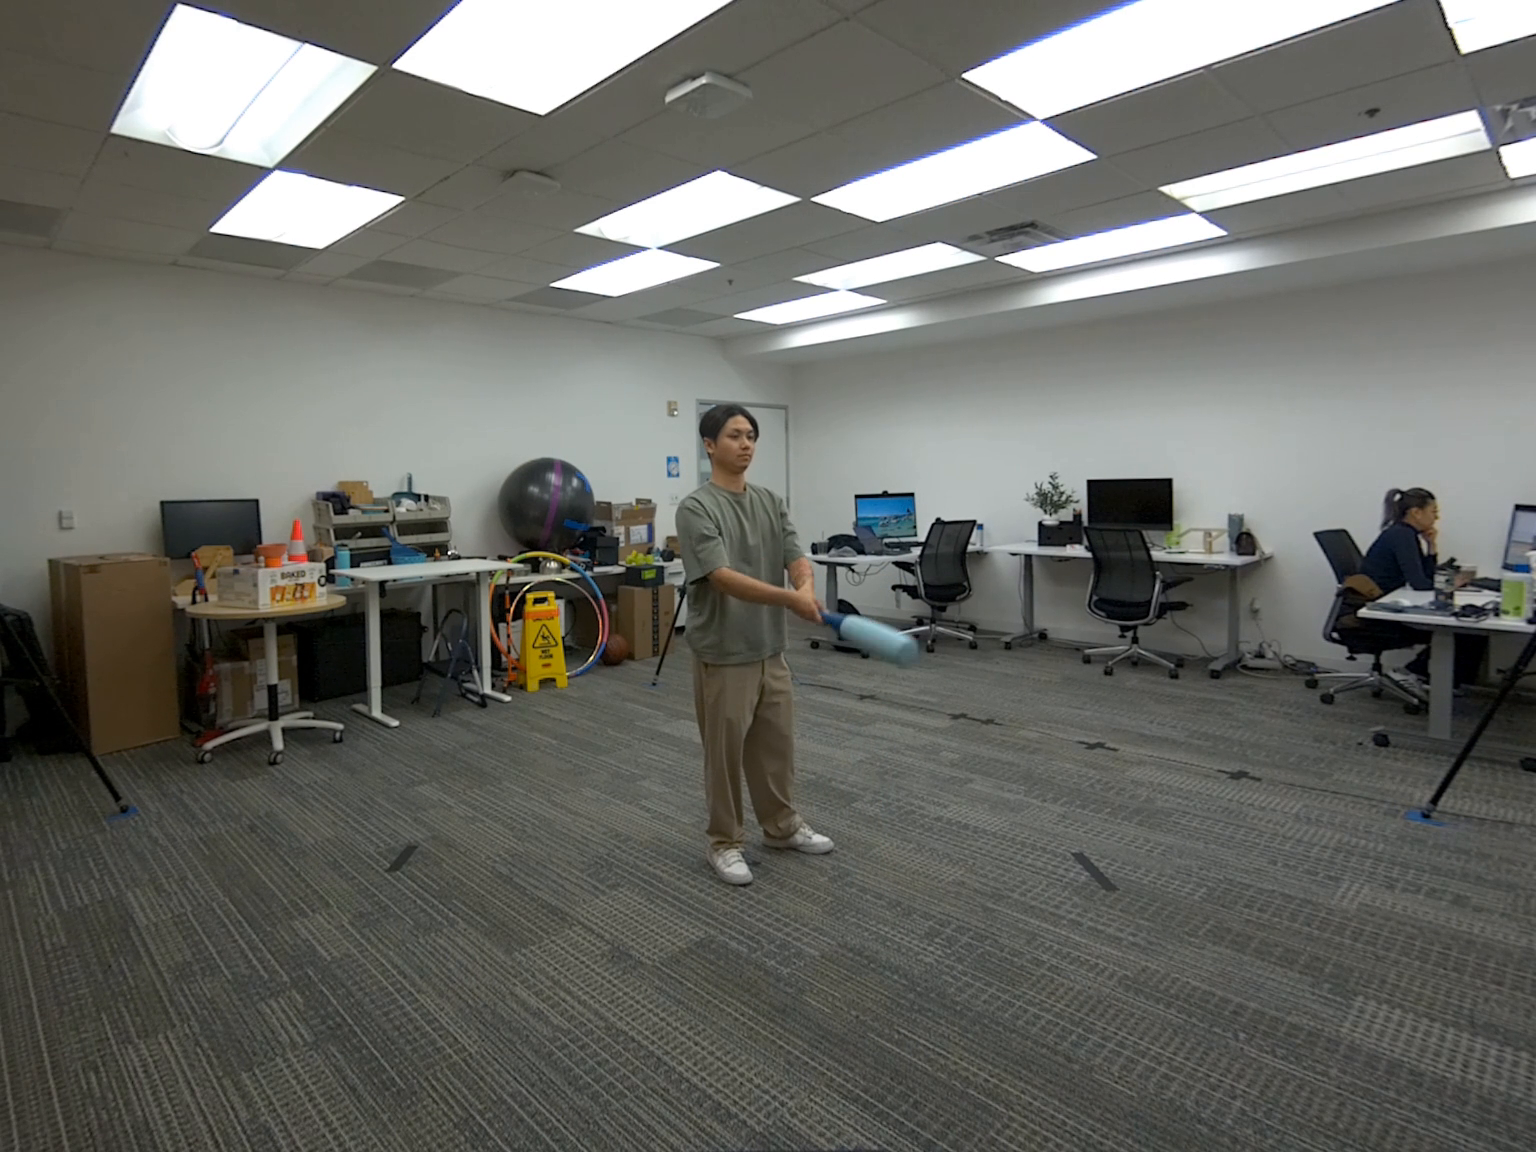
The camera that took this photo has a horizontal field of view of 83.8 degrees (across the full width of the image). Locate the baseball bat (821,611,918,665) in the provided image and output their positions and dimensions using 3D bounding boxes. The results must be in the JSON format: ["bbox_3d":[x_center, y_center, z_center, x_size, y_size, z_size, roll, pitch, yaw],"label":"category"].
[{"bbox_3d":[0.227,0.115,2.589,0.087,0.088,0.562,-4,15,-36],"label":"baseball bat"}]
